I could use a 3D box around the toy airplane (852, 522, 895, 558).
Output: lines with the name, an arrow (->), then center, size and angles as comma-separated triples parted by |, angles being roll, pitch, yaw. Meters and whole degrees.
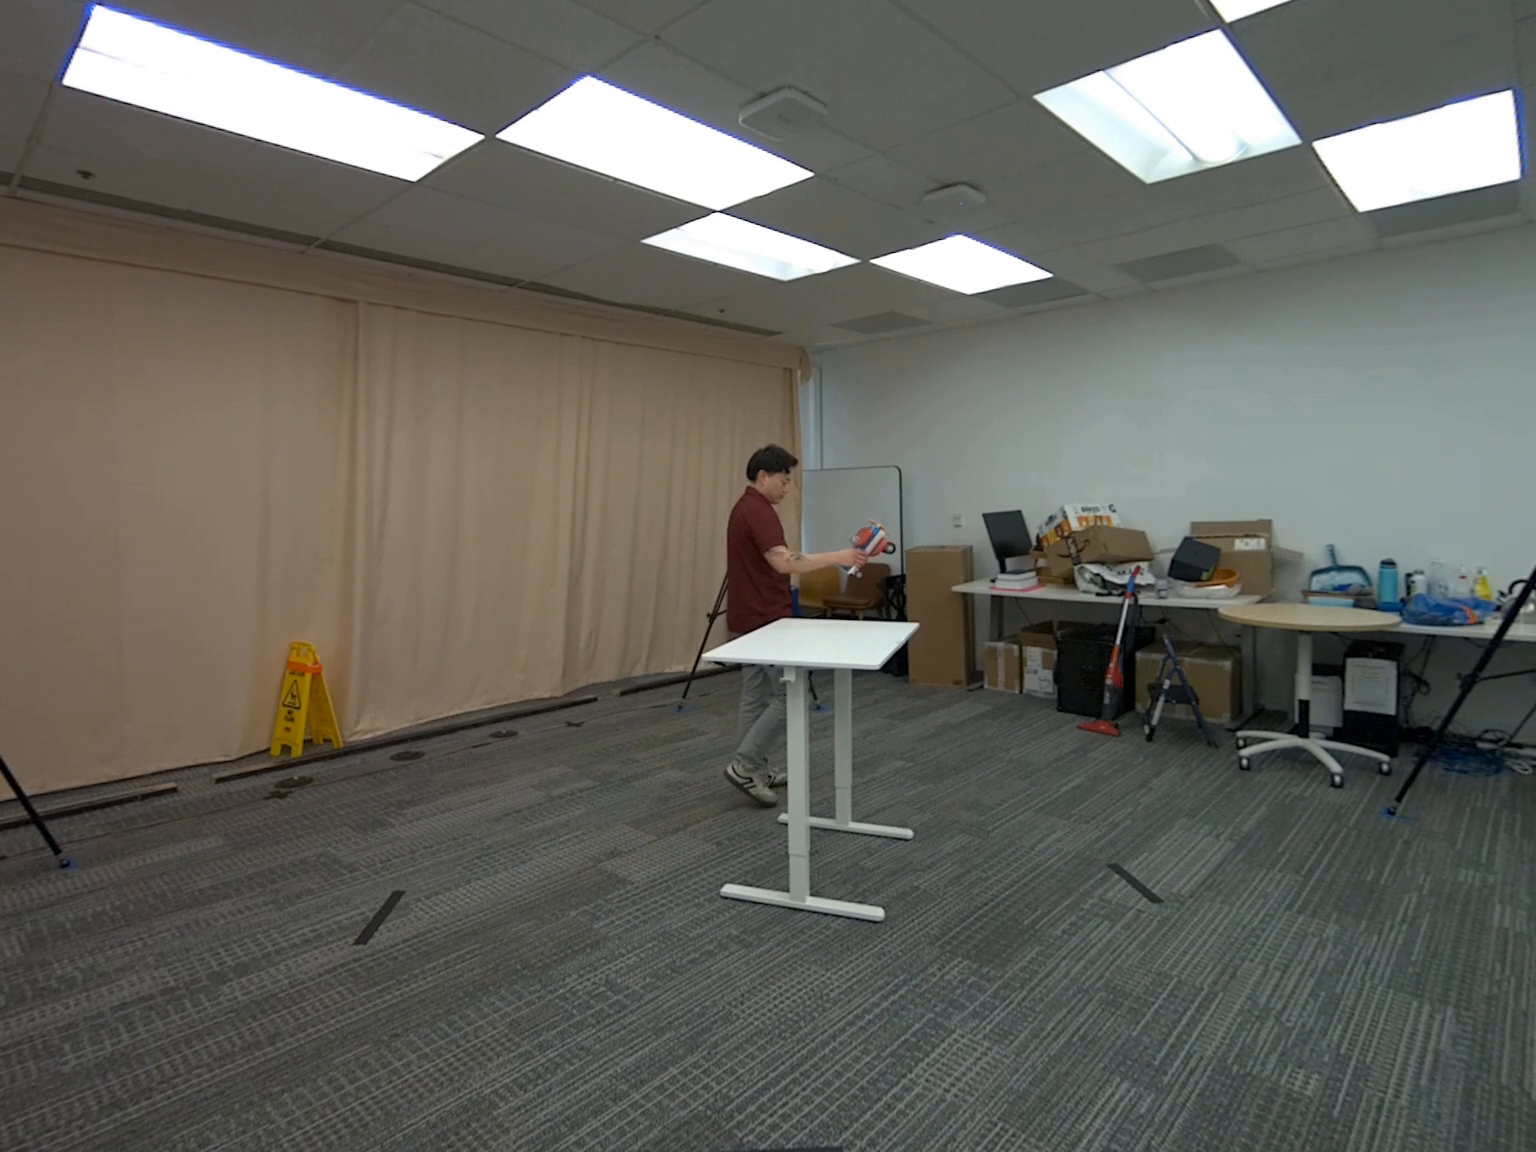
toy airplane -> 0.447, -0.113, 3.723 | 0.257, 0.155, 0.255 | -41, 7, -27
